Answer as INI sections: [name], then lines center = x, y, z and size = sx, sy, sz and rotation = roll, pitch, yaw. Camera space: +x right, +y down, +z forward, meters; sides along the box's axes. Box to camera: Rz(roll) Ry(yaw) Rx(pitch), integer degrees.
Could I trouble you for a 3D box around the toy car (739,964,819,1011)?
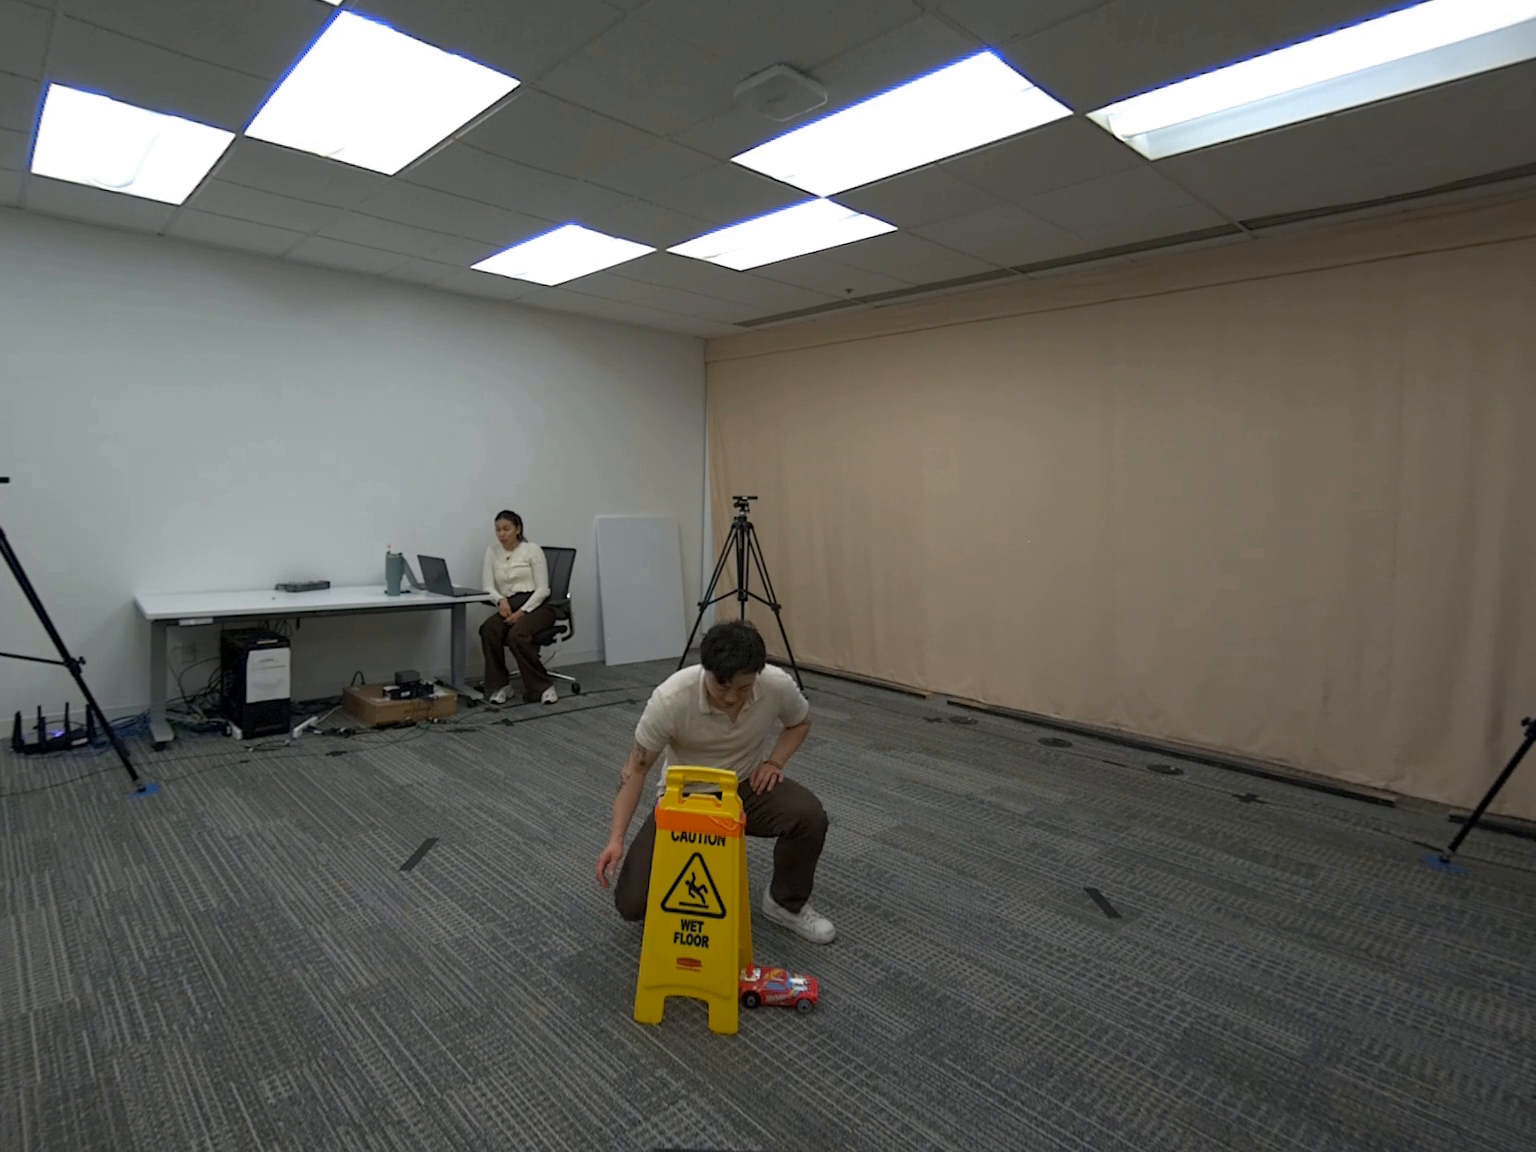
[toy car]
center = -0.001, 1.149, 2.334
size = 0.256, 0.083, 0.130
rotation = 13, 8, 5
